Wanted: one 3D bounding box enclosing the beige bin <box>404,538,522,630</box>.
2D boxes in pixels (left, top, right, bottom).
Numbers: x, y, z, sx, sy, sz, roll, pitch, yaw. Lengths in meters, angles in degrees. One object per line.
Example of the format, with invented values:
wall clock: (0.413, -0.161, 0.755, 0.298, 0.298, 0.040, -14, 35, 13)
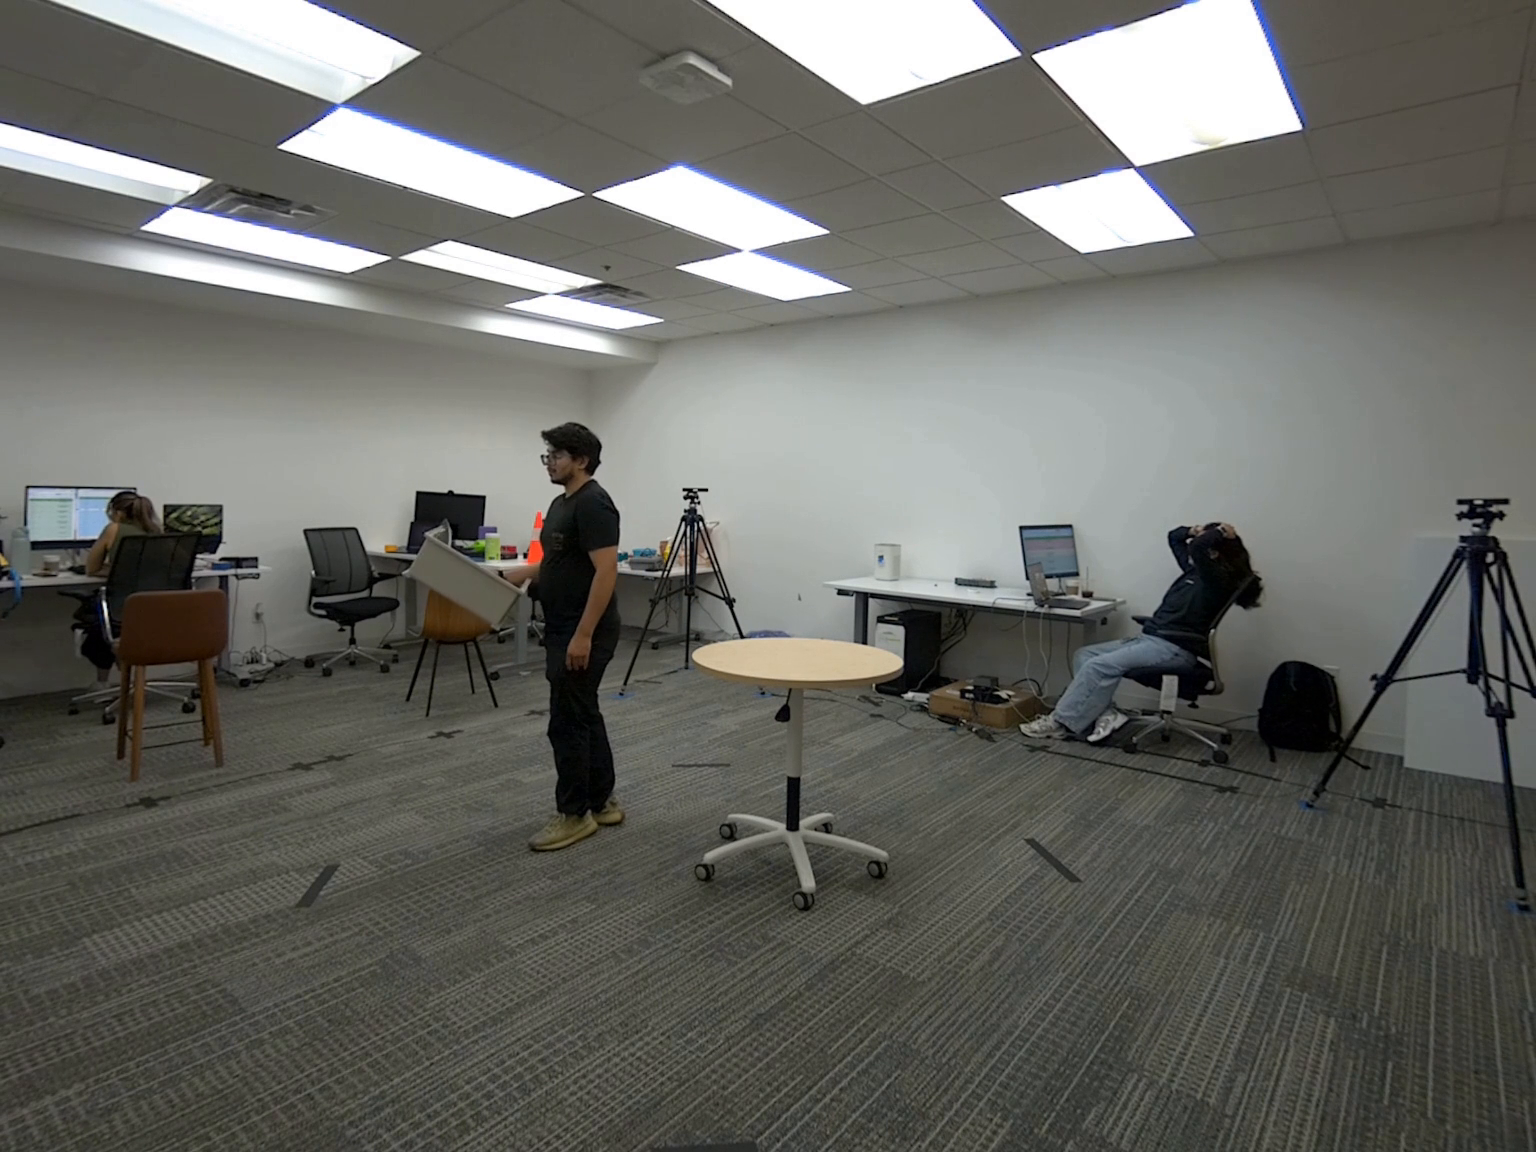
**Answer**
beige bin: (-1.185, -0.004, 3.349, 0.416, 0.189, 0.384, 33, 3, -12)
